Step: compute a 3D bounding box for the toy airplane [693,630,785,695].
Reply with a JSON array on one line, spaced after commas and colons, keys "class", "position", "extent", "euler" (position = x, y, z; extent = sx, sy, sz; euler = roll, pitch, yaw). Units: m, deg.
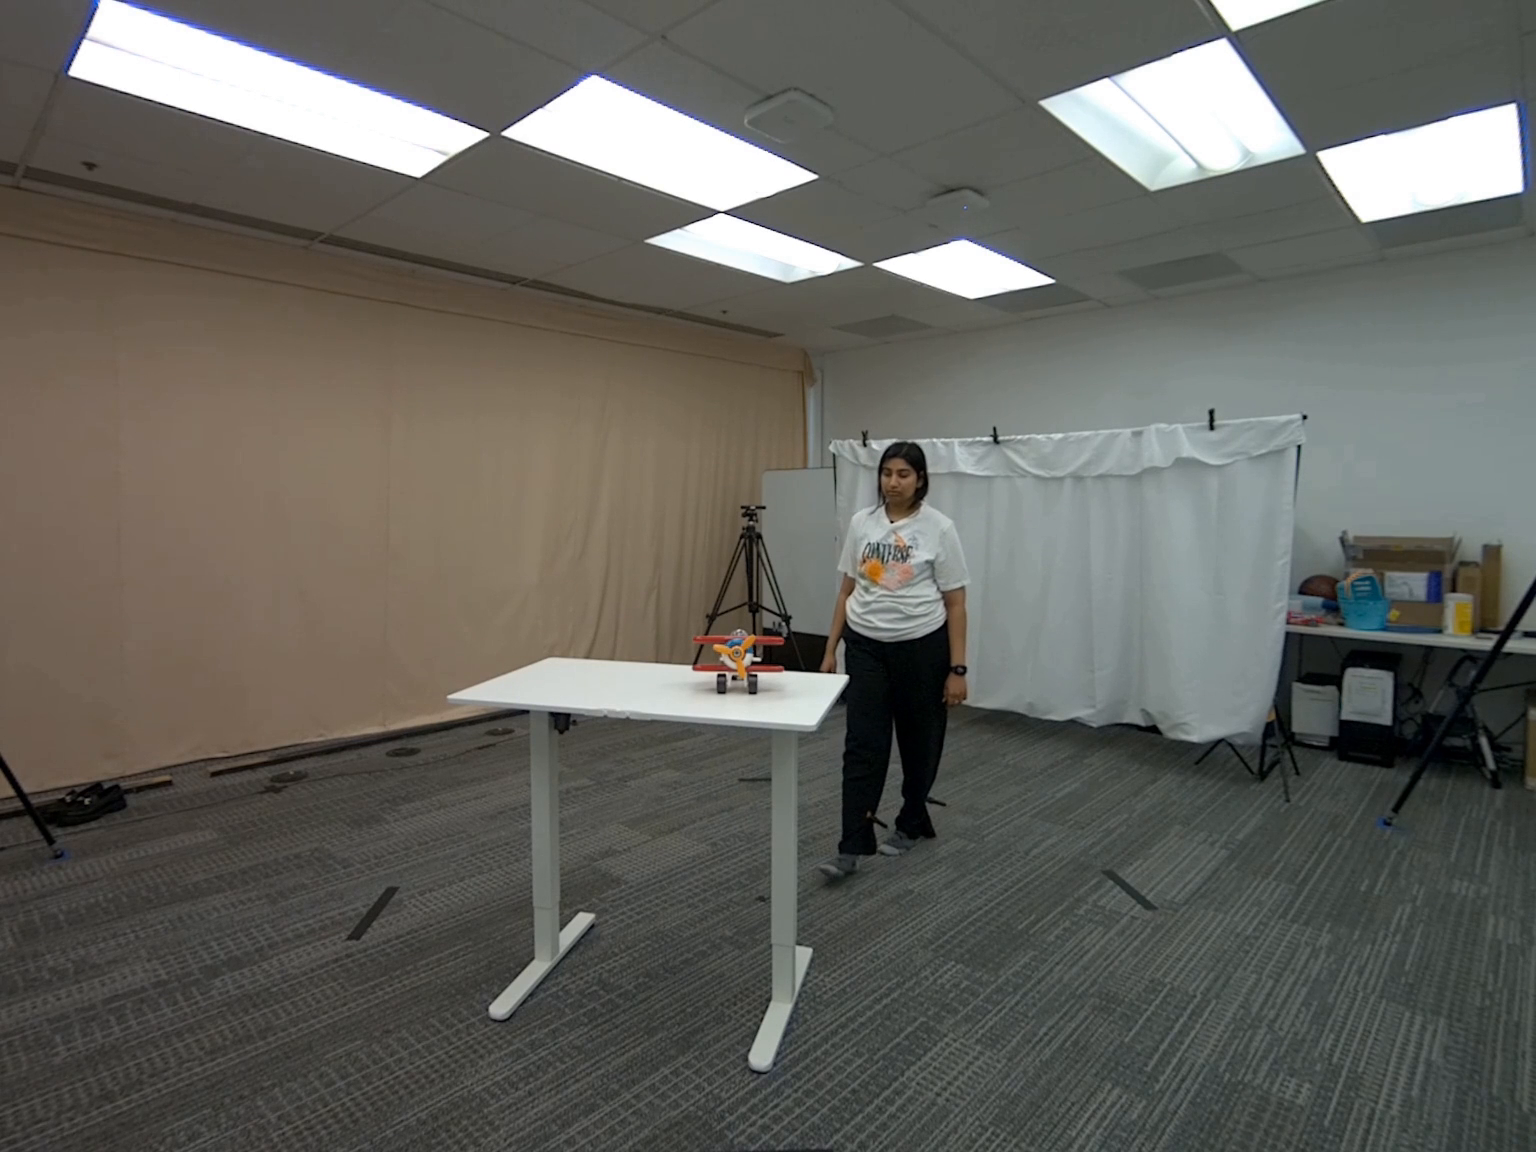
[{"class": "toy airplane", "position": [-0.095, 0.238, 2.364], "extent": [0.245, 0.156, 0.266], "euler": [-4, 7, -25]}]
